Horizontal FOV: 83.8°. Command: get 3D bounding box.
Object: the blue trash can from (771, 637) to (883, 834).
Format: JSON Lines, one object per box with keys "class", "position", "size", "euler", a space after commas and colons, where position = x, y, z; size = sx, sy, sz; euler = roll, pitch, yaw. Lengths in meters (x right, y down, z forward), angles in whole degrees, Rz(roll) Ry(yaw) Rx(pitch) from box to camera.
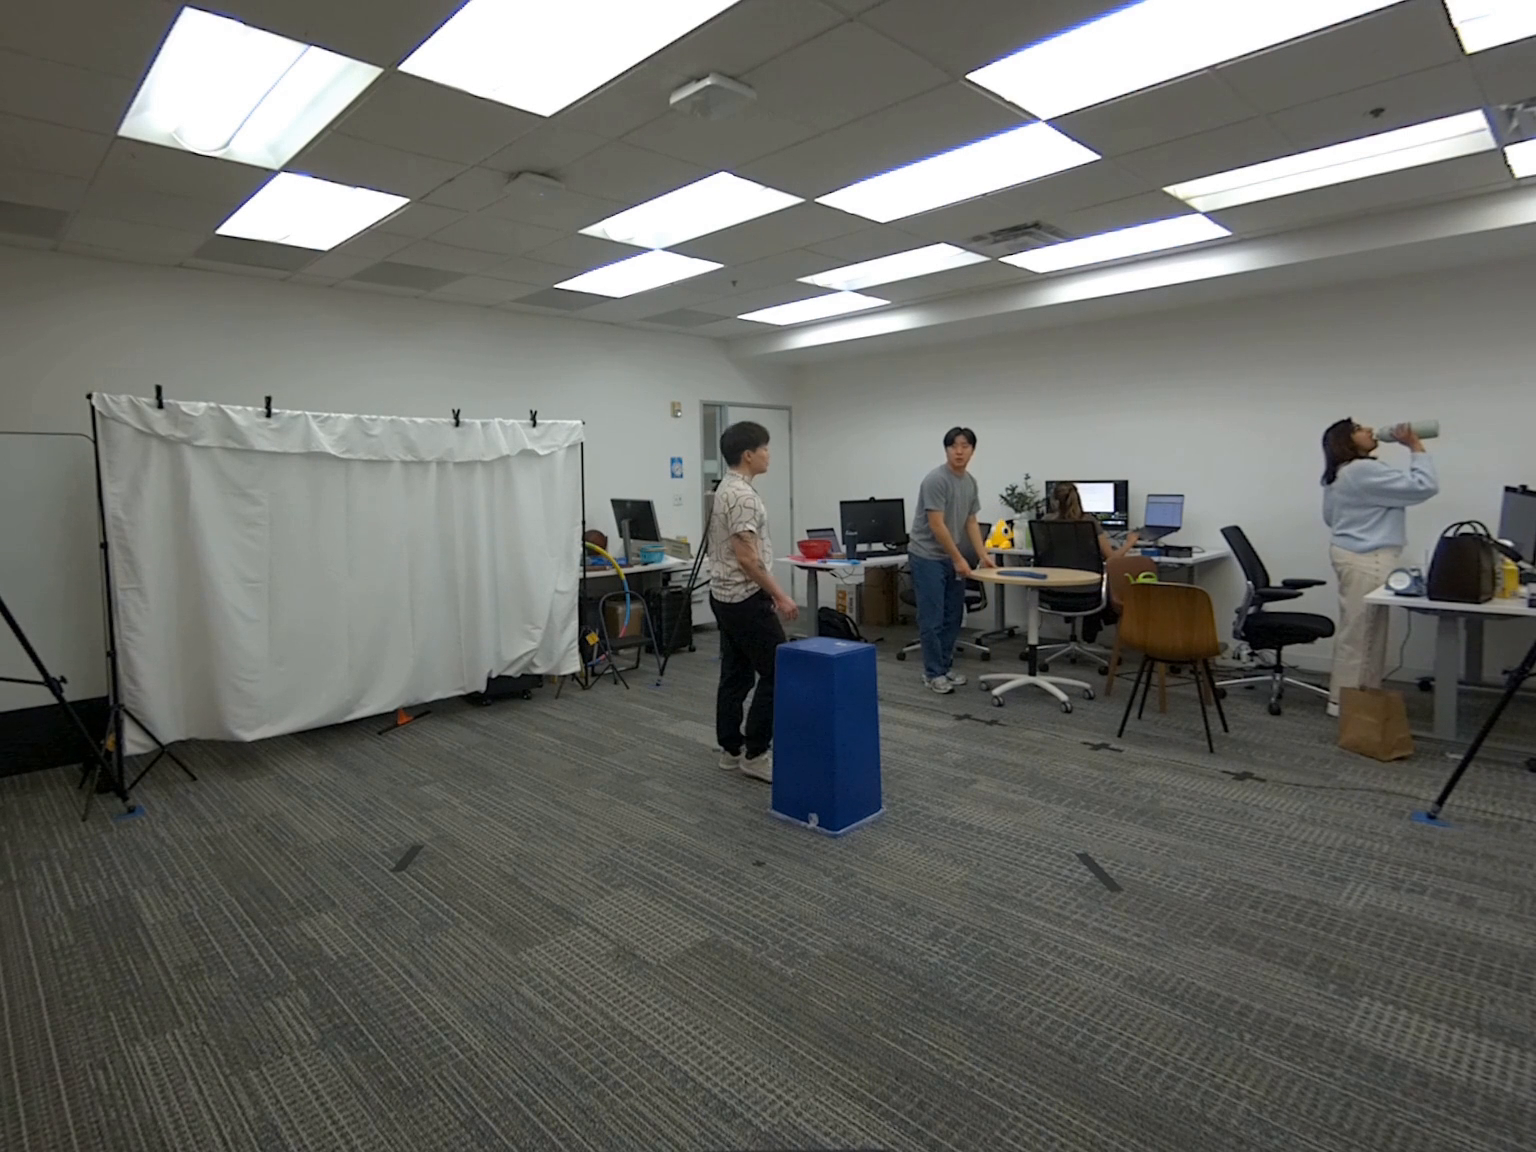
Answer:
{"class": "blue trash can", "position": [0.252, 0.639, 3.547], "size": [0.390, 0.711, 0.364], "euler": [4, 6, 43]}
